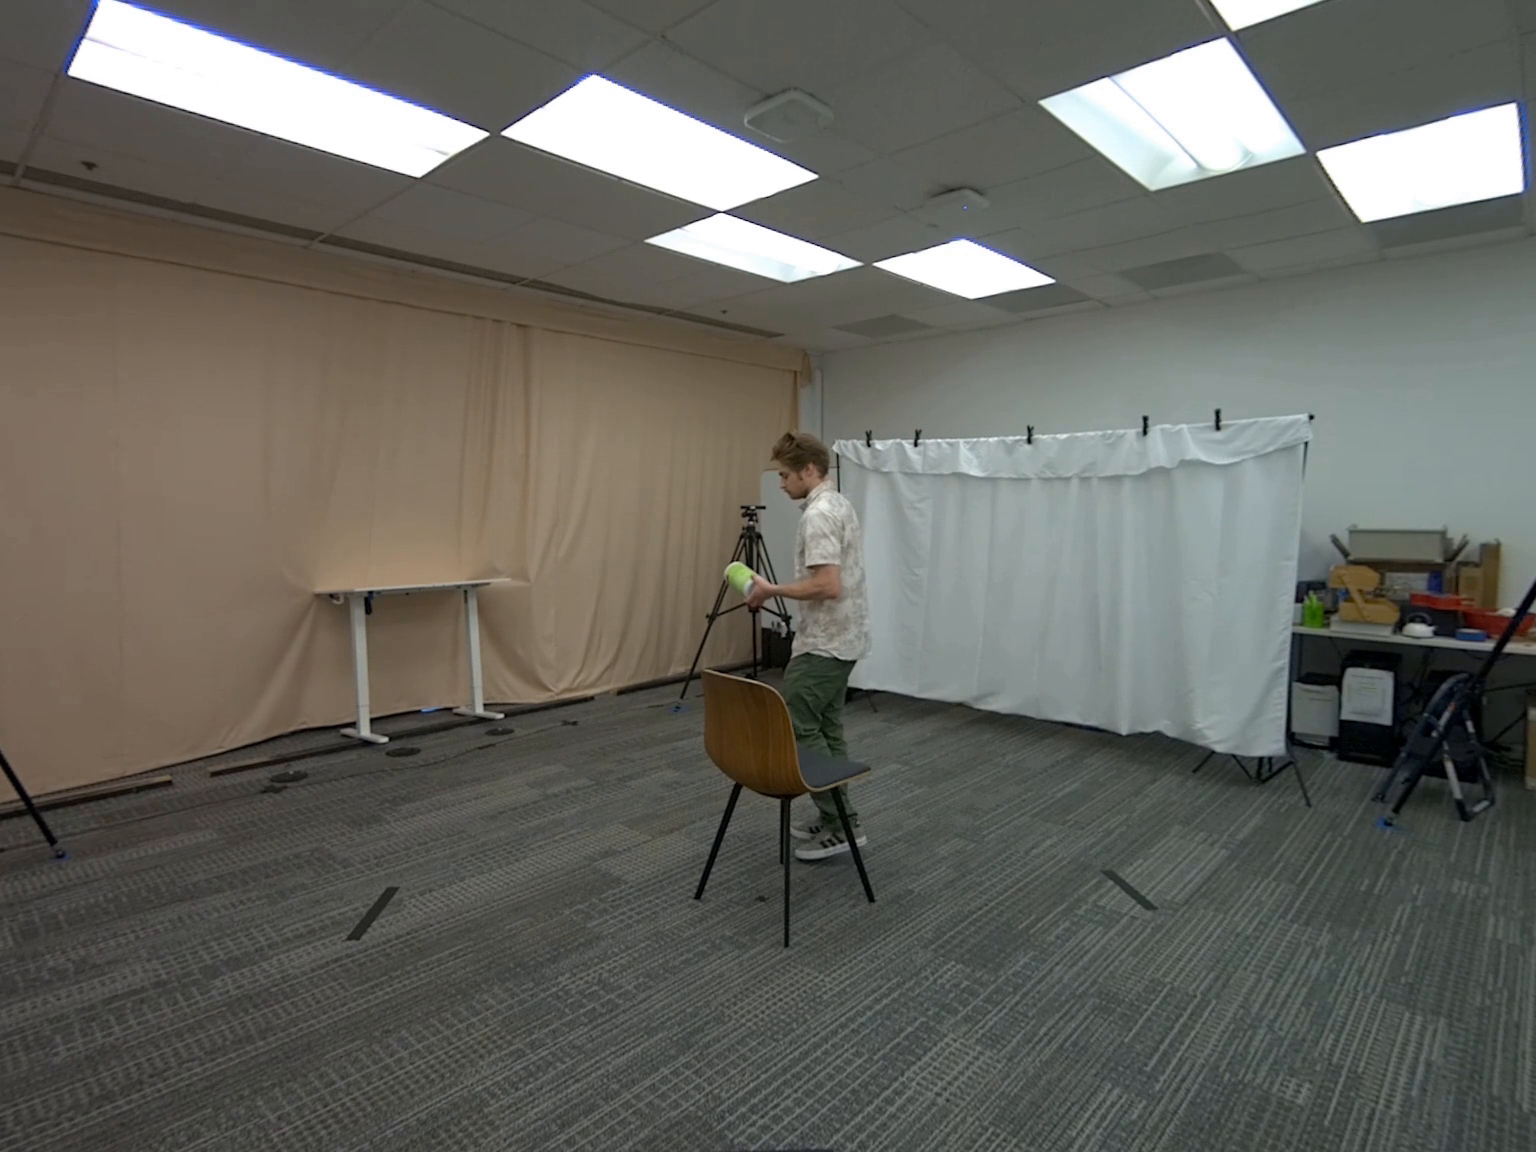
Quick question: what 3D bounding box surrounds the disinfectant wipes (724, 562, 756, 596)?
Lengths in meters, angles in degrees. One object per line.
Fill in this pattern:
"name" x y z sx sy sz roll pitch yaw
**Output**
"disinfectant wipes" -0.093 0.026 3.515 0.115 0.117 0.225 -2 21 -29
